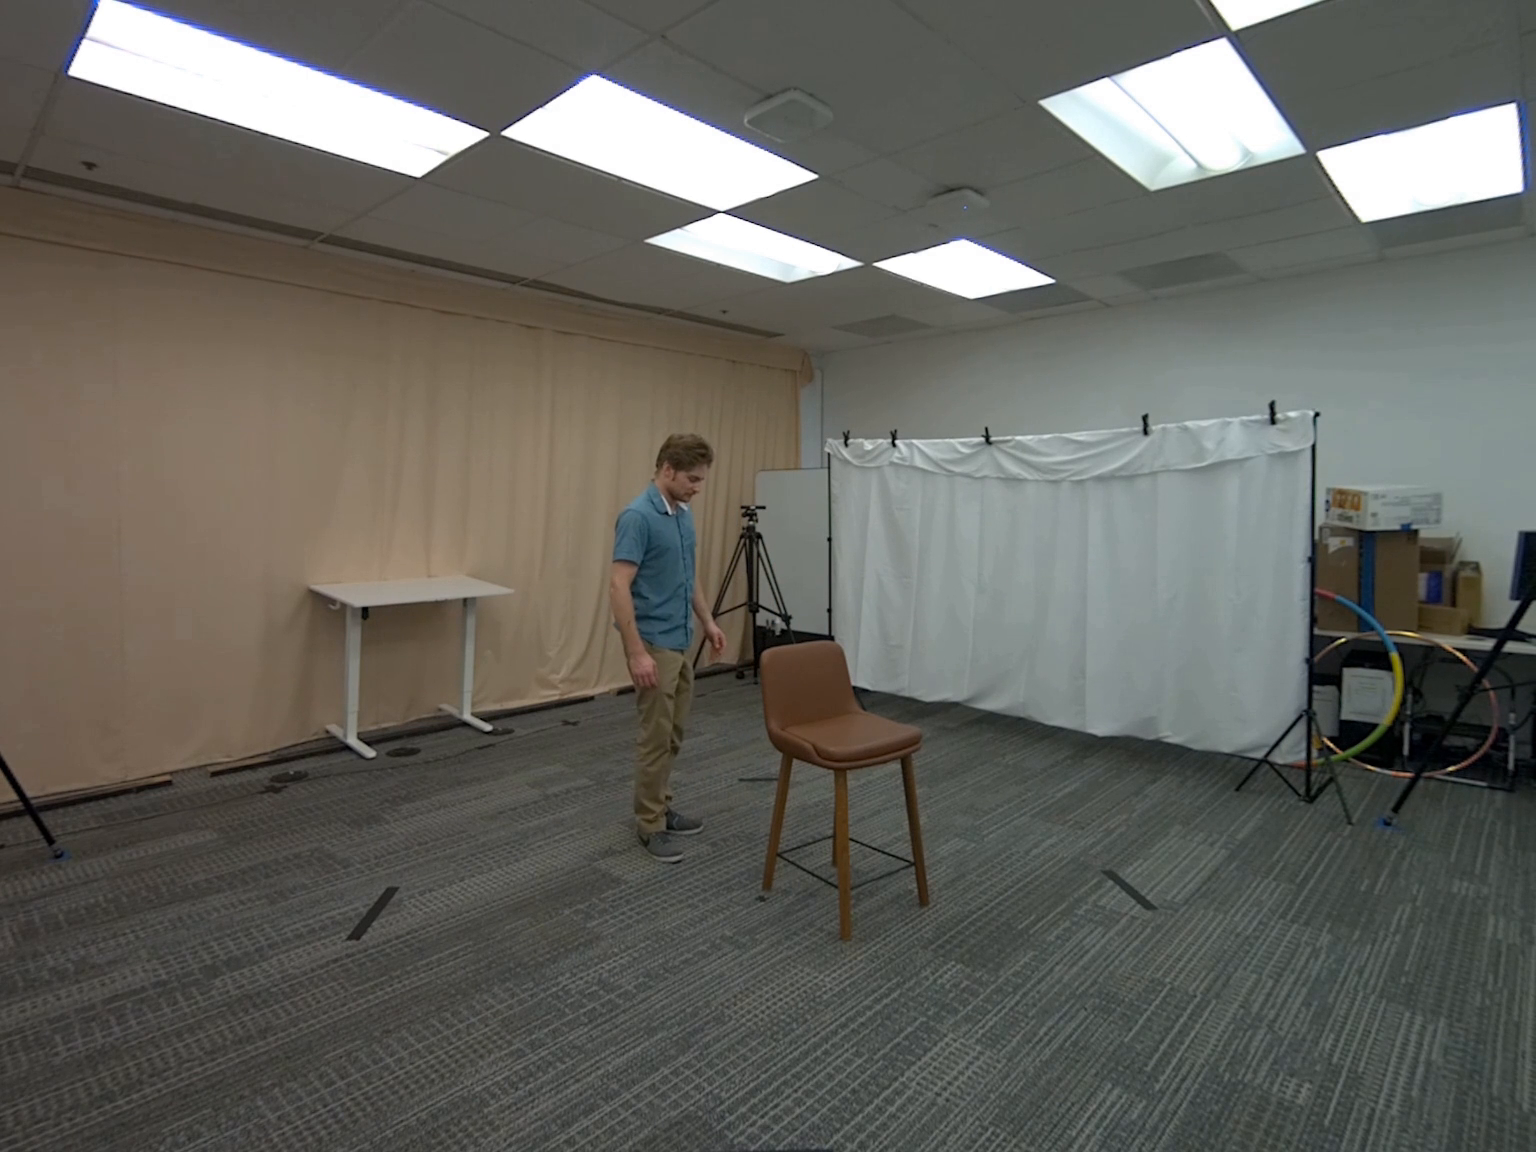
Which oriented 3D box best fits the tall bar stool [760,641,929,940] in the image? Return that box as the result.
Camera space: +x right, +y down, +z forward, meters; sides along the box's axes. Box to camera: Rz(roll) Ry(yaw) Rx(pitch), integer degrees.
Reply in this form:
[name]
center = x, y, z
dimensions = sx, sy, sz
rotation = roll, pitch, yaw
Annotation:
[tall bar stool]
center = 0.261, 0.710, 2.967
dimensions = 0.443, 0.889, 0.482
rotation = -3, 2, -38
